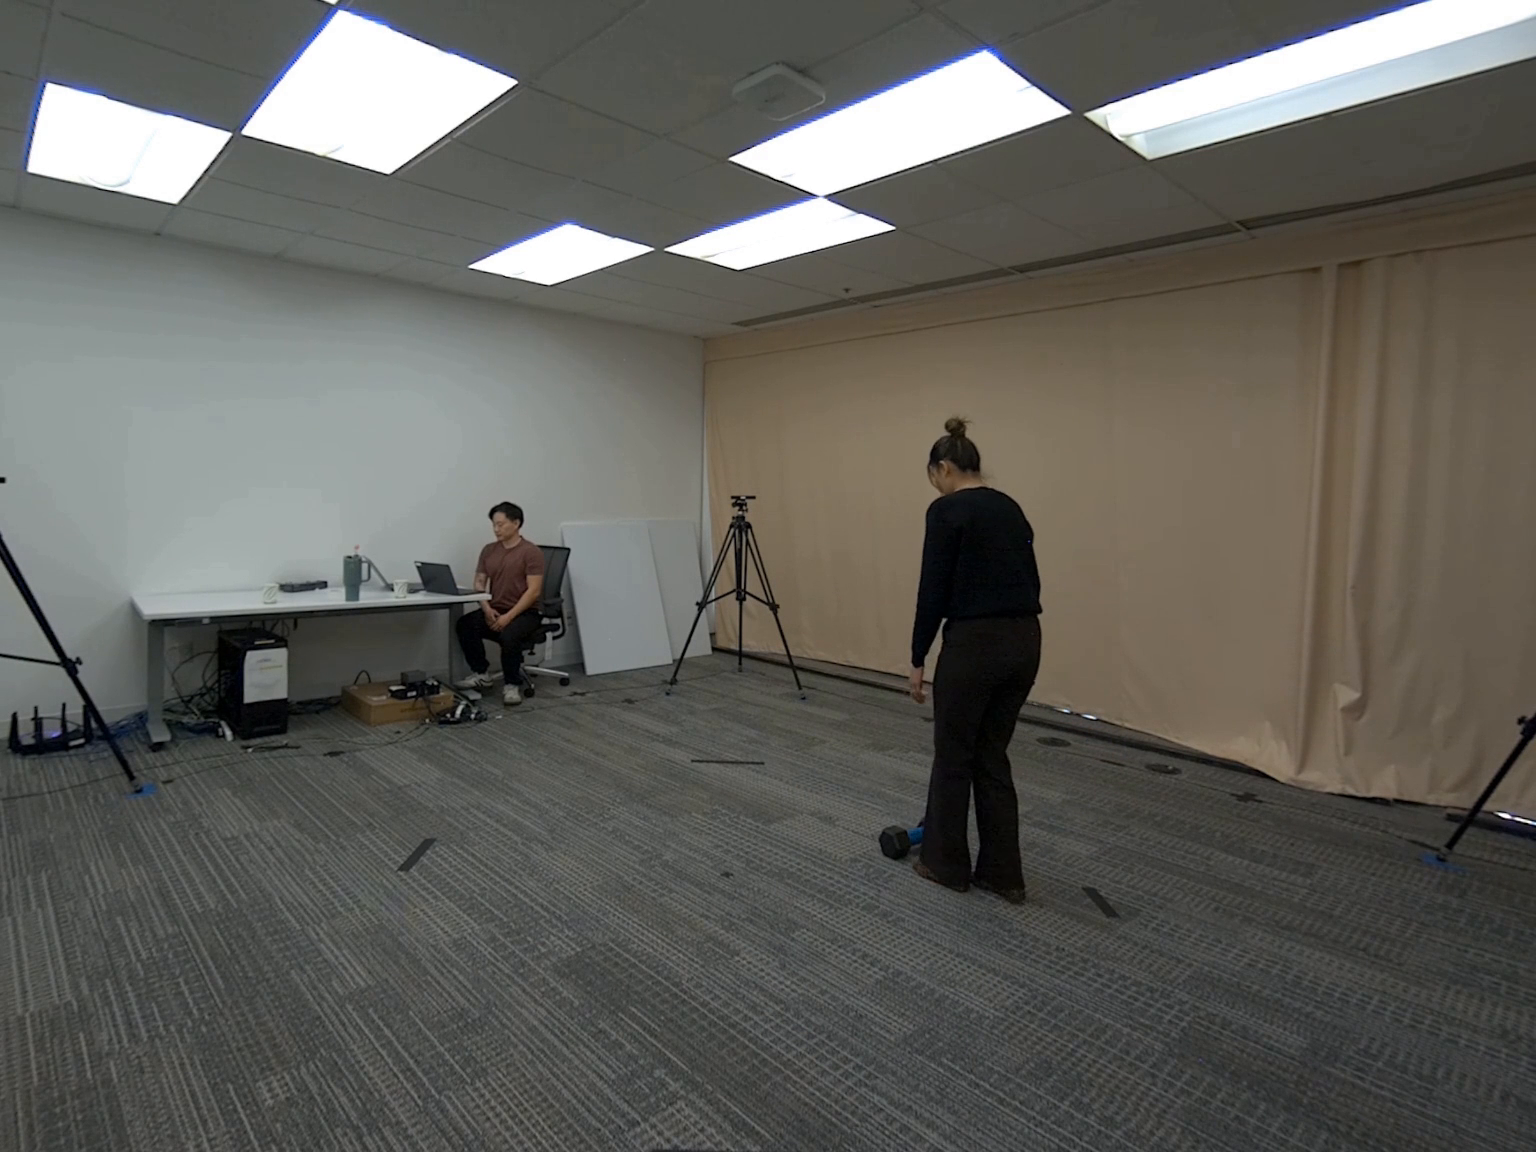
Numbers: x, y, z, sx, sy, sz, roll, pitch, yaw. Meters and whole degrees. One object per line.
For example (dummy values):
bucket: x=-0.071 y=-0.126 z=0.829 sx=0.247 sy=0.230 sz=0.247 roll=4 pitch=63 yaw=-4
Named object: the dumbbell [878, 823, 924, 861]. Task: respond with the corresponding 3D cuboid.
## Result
dumbbell: x=0.574 y=1.041 z=3.362 sx=0.287 sy=0.121 sz=0.112 roll=-2 pitch=36 yaw=-35
